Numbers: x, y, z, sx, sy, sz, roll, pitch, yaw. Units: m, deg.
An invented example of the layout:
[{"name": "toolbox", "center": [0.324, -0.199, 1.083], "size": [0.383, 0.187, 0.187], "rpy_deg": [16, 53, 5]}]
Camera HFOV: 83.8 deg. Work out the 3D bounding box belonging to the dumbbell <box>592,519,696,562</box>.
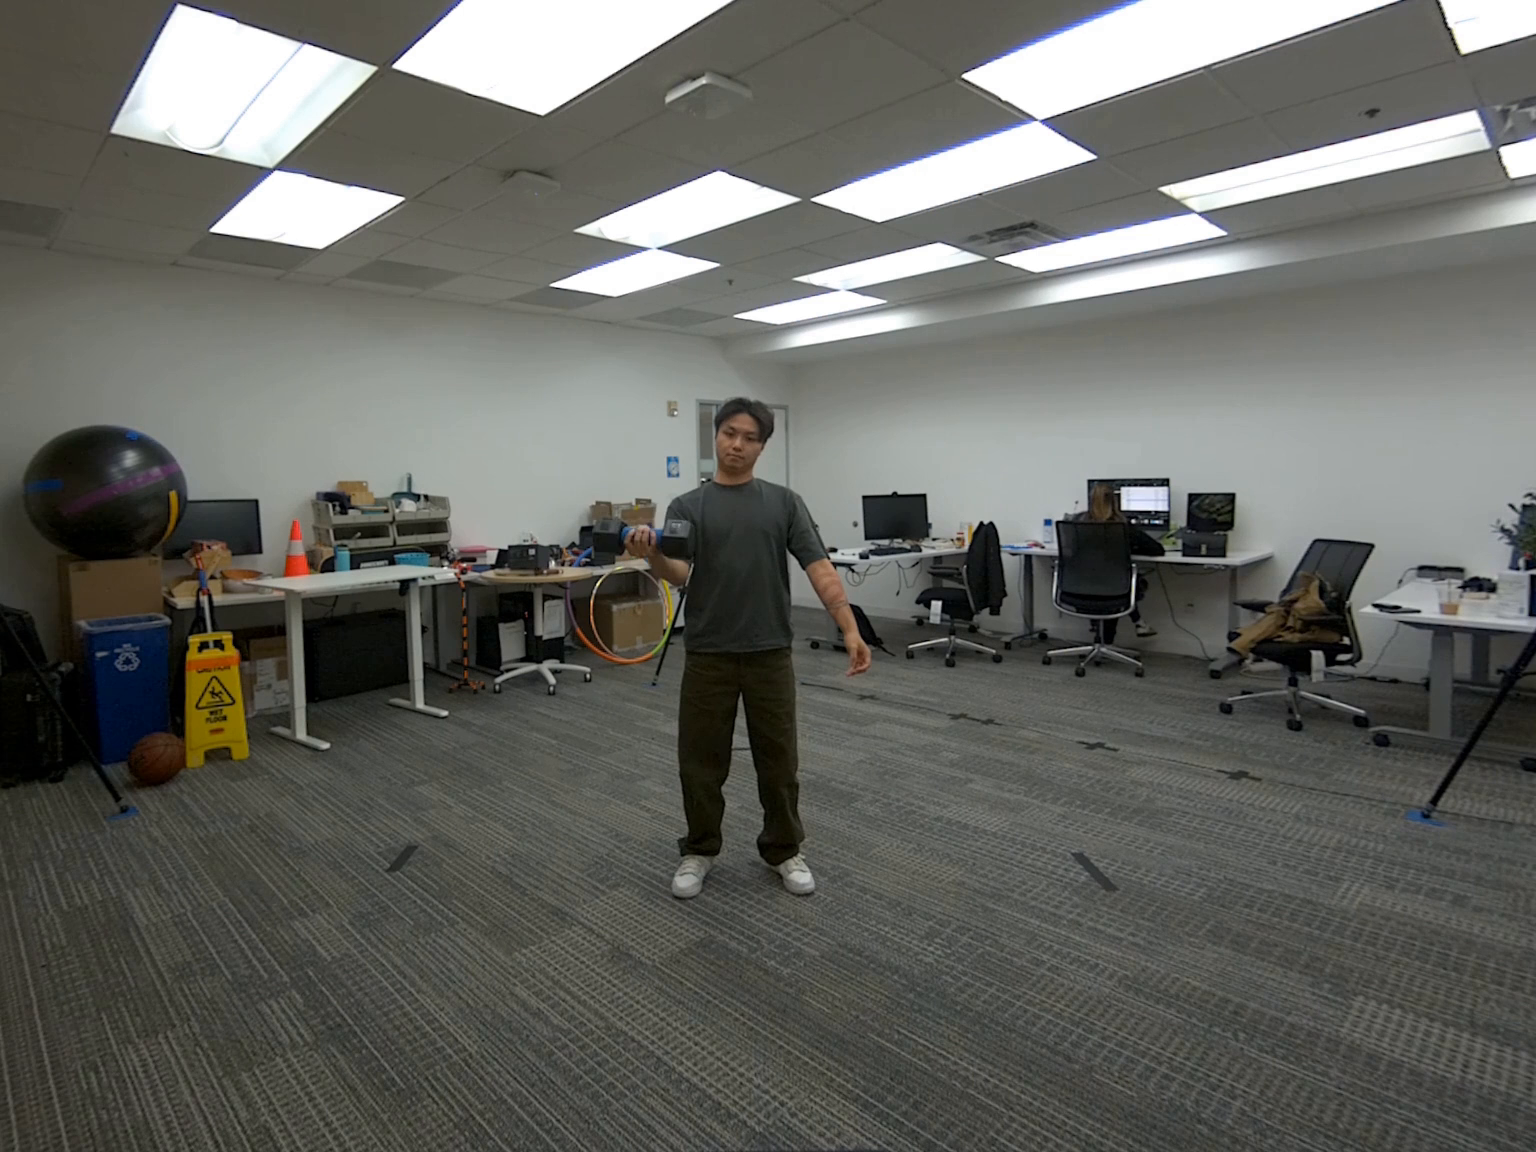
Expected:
[{"name": "dumbbell", "center": [-0.363, -0.118, 2.510], "size": [0.298, 0.121, 0.109], "rpy_deg": [3, 21, 14]}]
